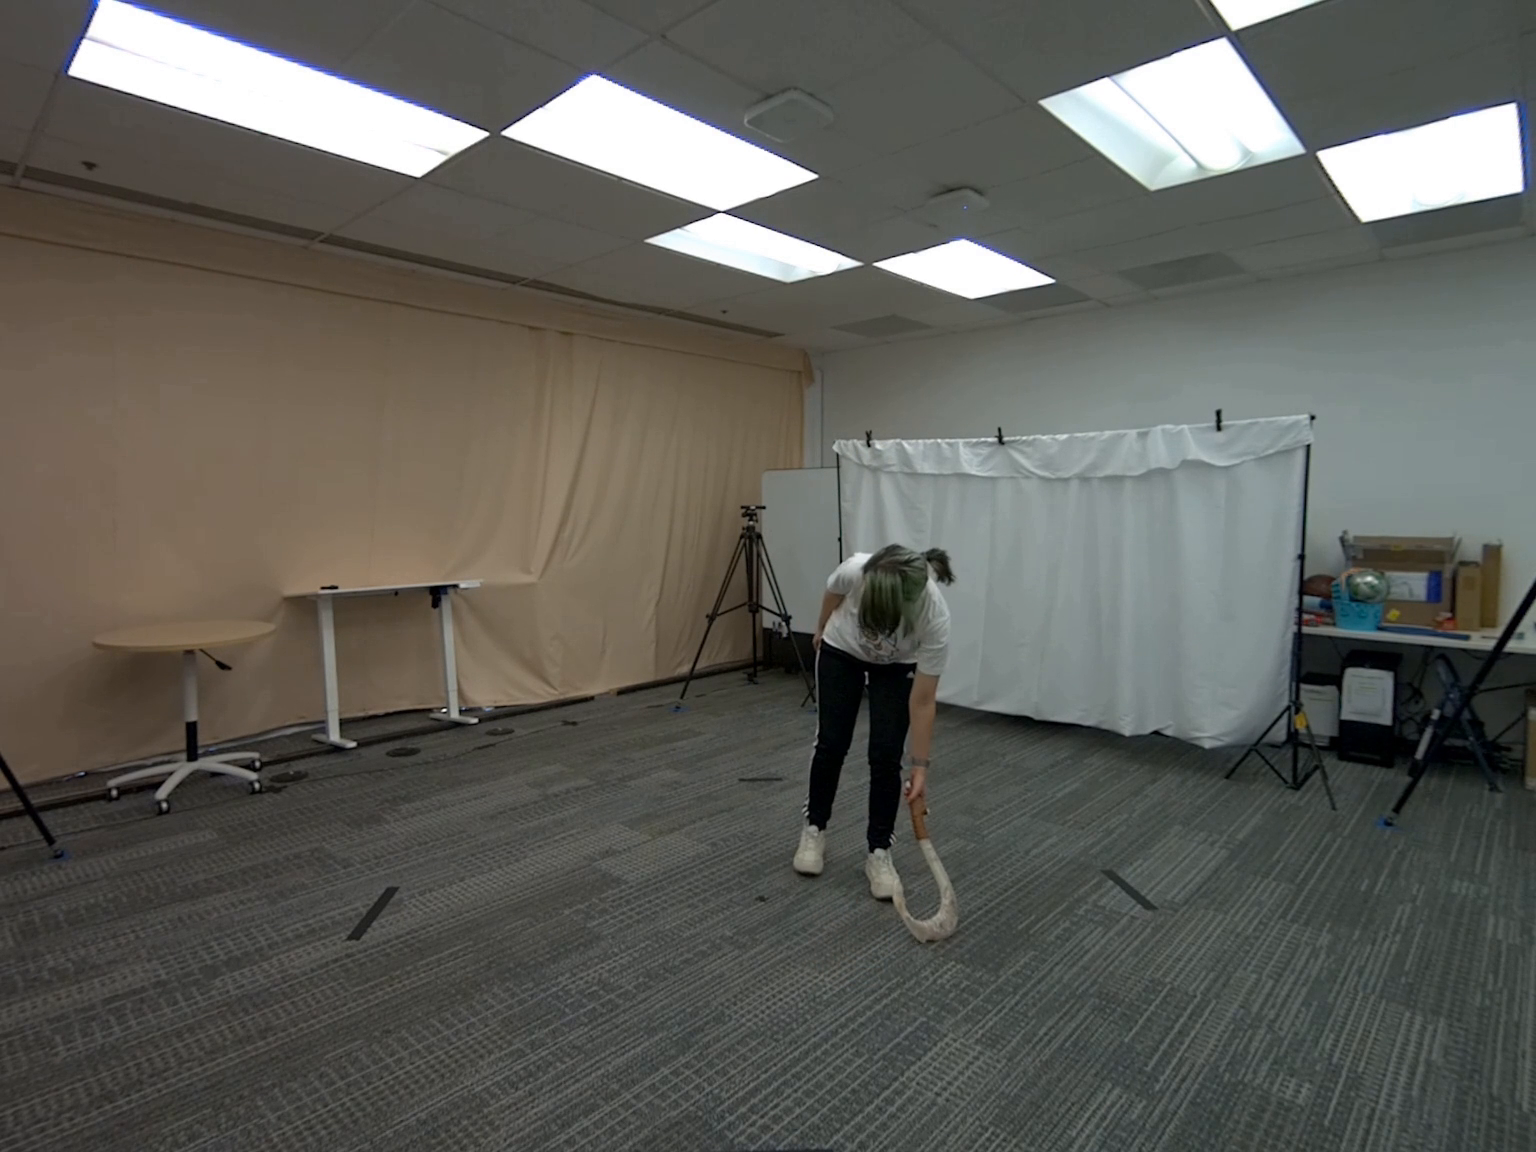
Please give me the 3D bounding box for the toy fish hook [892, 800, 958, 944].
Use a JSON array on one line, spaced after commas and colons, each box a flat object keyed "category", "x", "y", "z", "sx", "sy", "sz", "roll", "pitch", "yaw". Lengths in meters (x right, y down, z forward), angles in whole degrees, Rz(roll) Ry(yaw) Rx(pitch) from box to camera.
[{"category": "toy fish hook", "x": 0.494, "y": 0.930, "z": 2.790, "sx": 0.219, "sy": 0.516, "sz": 0.048, "roll": 2, "pitch": -28, "yaw": -23}]
